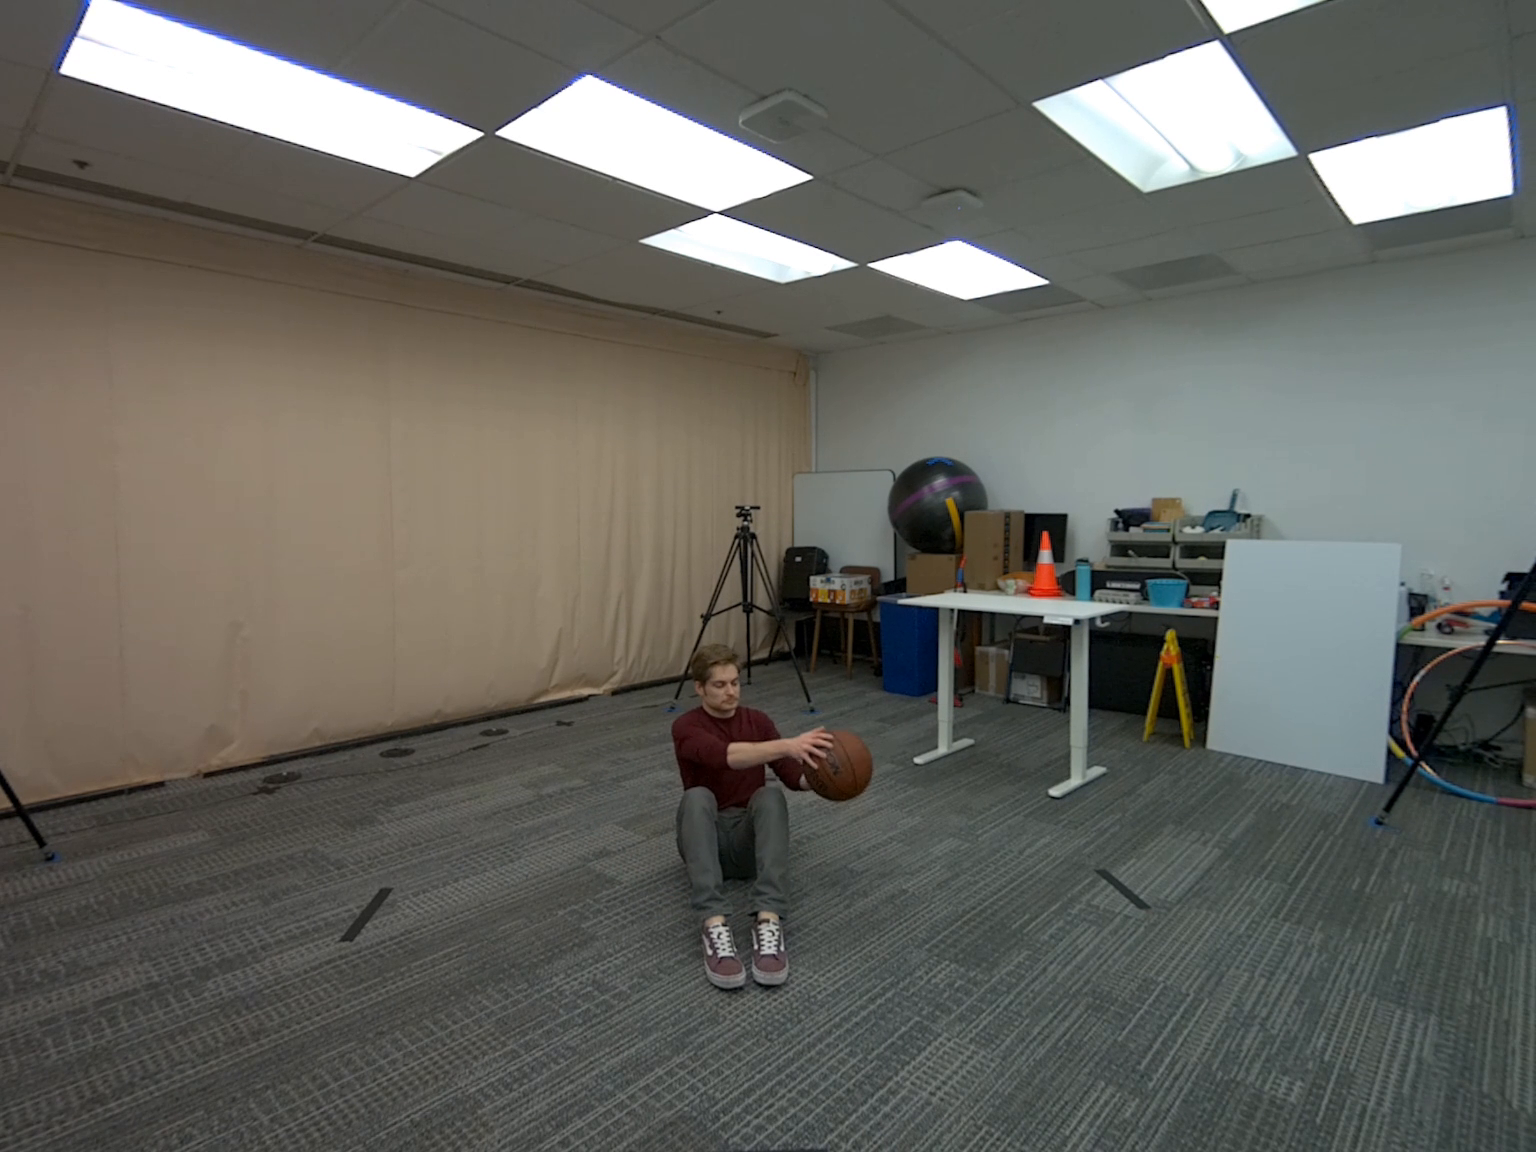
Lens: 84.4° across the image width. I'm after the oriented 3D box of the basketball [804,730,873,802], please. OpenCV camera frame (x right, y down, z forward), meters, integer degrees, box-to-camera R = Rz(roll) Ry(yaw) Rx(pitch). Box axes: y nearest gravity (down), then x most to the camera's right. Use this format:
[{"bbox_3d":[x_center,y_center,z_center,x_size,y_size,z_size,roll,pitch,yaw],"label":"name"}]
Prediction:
[{"bbox_3d":[0.225,0.658,2.868,0.236,0.235,0.237,0,4,-2],"label":"basketball"}]
